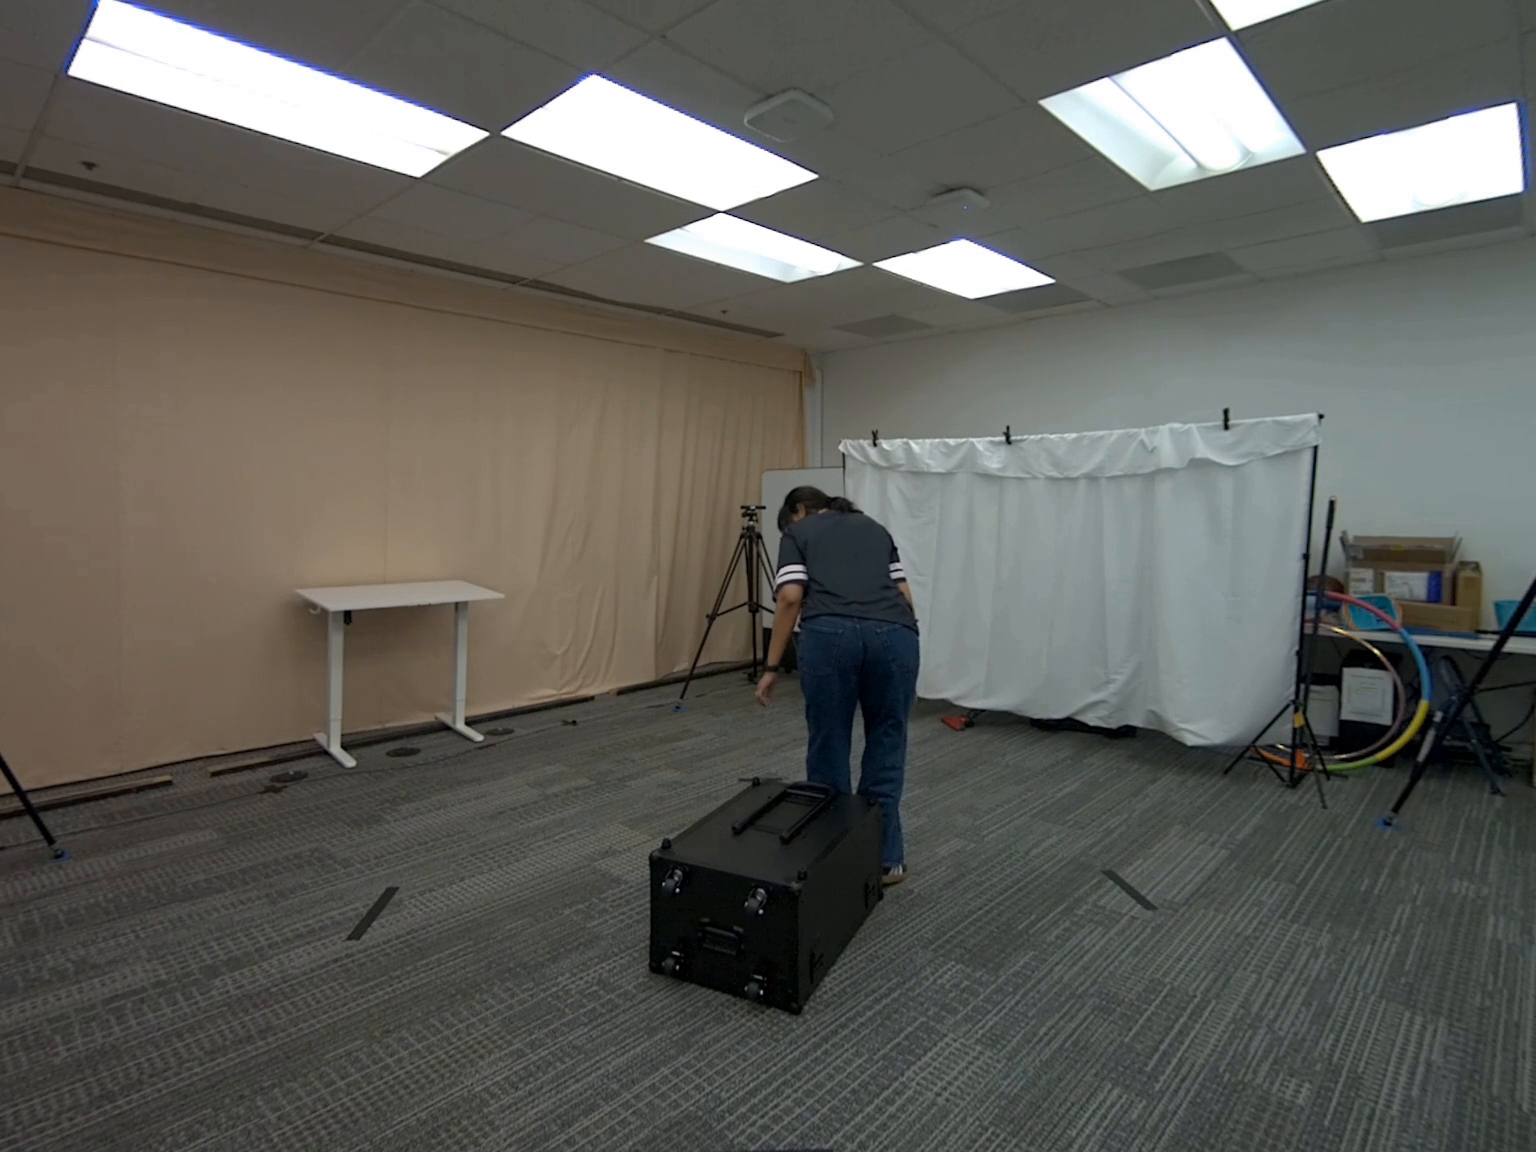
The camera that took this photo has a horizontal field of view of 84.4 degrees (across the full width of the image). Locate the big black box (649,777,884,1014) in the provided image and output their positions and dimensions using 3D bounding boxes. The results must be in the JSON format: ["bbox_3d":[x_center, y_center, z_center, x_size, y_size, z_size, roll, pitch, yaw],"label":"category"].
[{"bbox_3d":[0.018,0.981,2.701,0.537,0.384,0.848,3,6,25],"label":"big black box"}]
